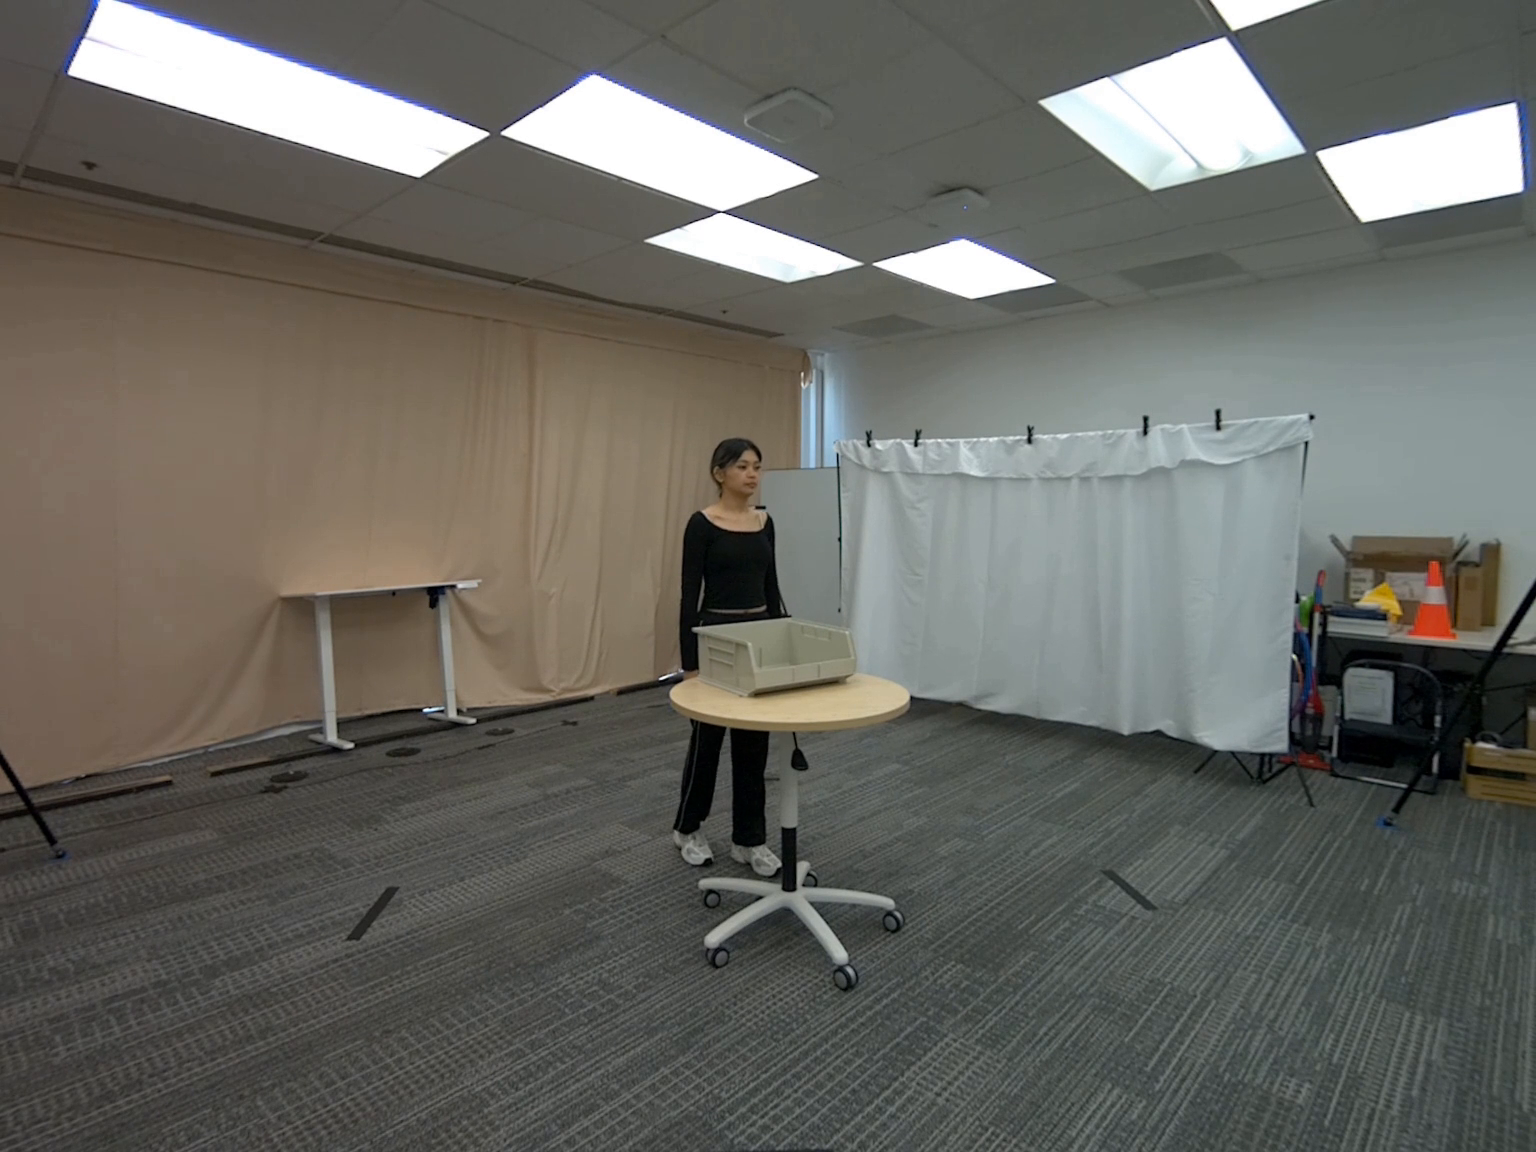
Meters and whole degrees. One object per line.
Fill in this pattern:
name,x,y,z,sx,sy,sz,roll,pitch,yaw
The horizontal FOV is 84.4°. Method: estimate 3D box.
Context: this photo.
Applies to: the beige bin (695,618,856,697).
beige bin,0.025,0.270,2.850,0.410,0.188,0.389,-4,5,-34
